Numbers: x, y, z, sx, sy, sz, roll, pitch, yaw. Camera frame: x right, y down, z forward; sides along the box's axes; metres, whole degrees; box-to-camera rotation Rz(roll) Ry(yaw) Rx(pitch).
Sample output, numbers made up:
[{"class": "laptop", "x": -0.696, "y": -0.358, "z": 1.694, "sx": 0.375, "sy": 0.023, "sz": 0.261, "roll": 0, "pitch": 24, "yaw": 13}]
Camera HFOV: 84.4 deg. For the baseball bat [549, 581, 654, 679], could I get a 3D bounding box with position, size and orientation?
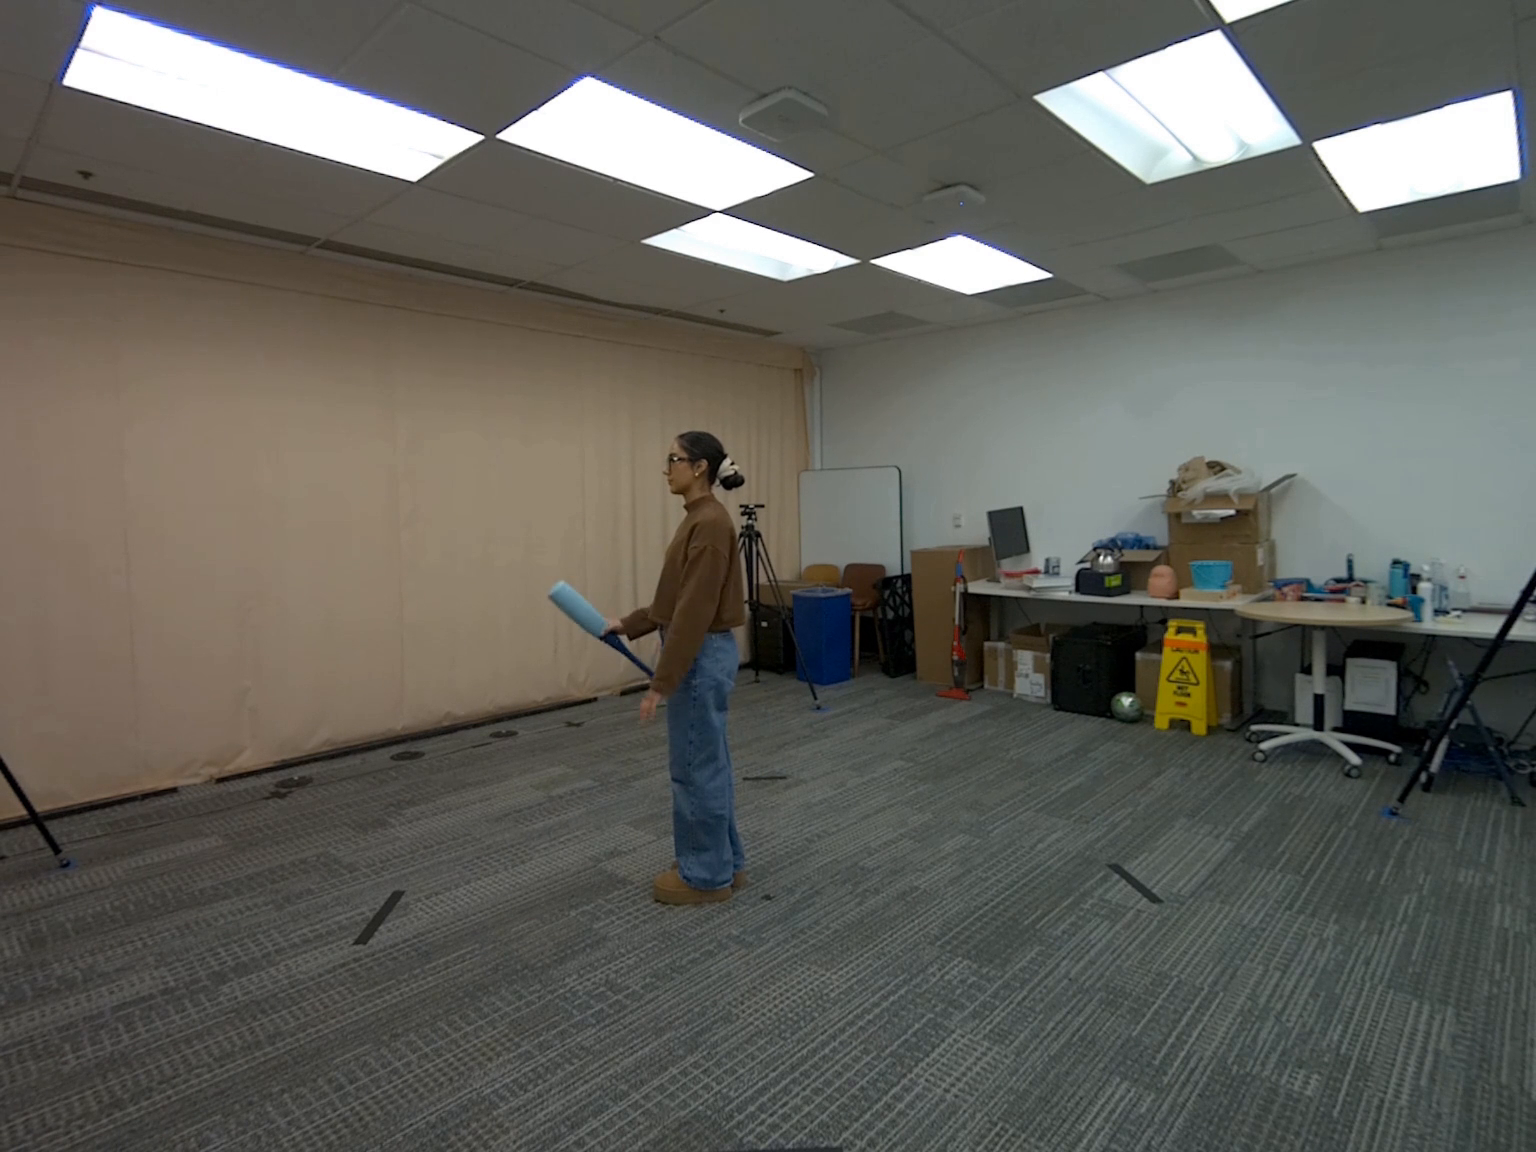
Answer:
[{"class": "baseball bat", "x": -0.585, "y": 0.226, "z": 3.164, "sx": 0.089, "sy": 0.533, "sz": 0.090, "roll": -41, "pitch": 16, "yaw": 14}]
